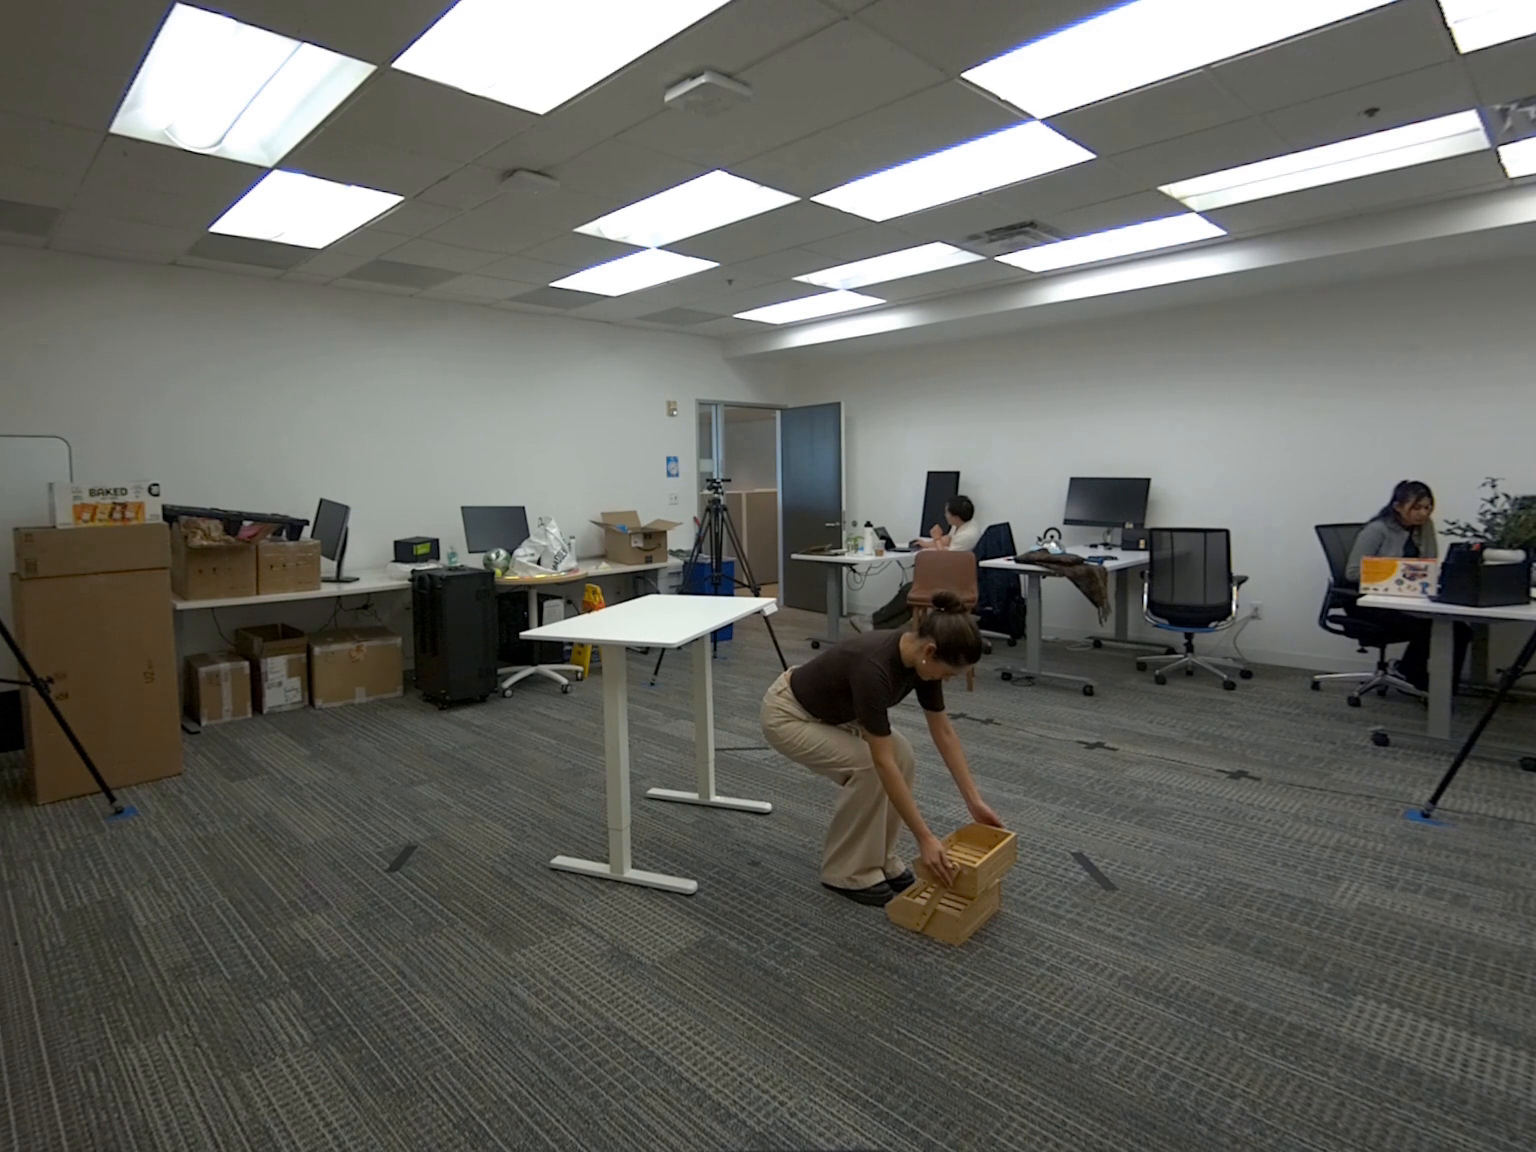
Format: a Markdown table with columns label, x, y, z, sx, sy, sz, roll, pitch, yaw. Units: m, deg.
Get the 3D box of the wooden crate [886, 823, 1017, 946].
| label | x | y | z | sx | sy | sz | roll | pitch | yaw |
| --- | --- | --- | --- | --- | --- | --- | --- | --- | --- |
| wooden crate | 0.576 | 0.942 | 2.698 | 0.311 | 0.272 | 0.316 | 4 | 7 | 39 |
